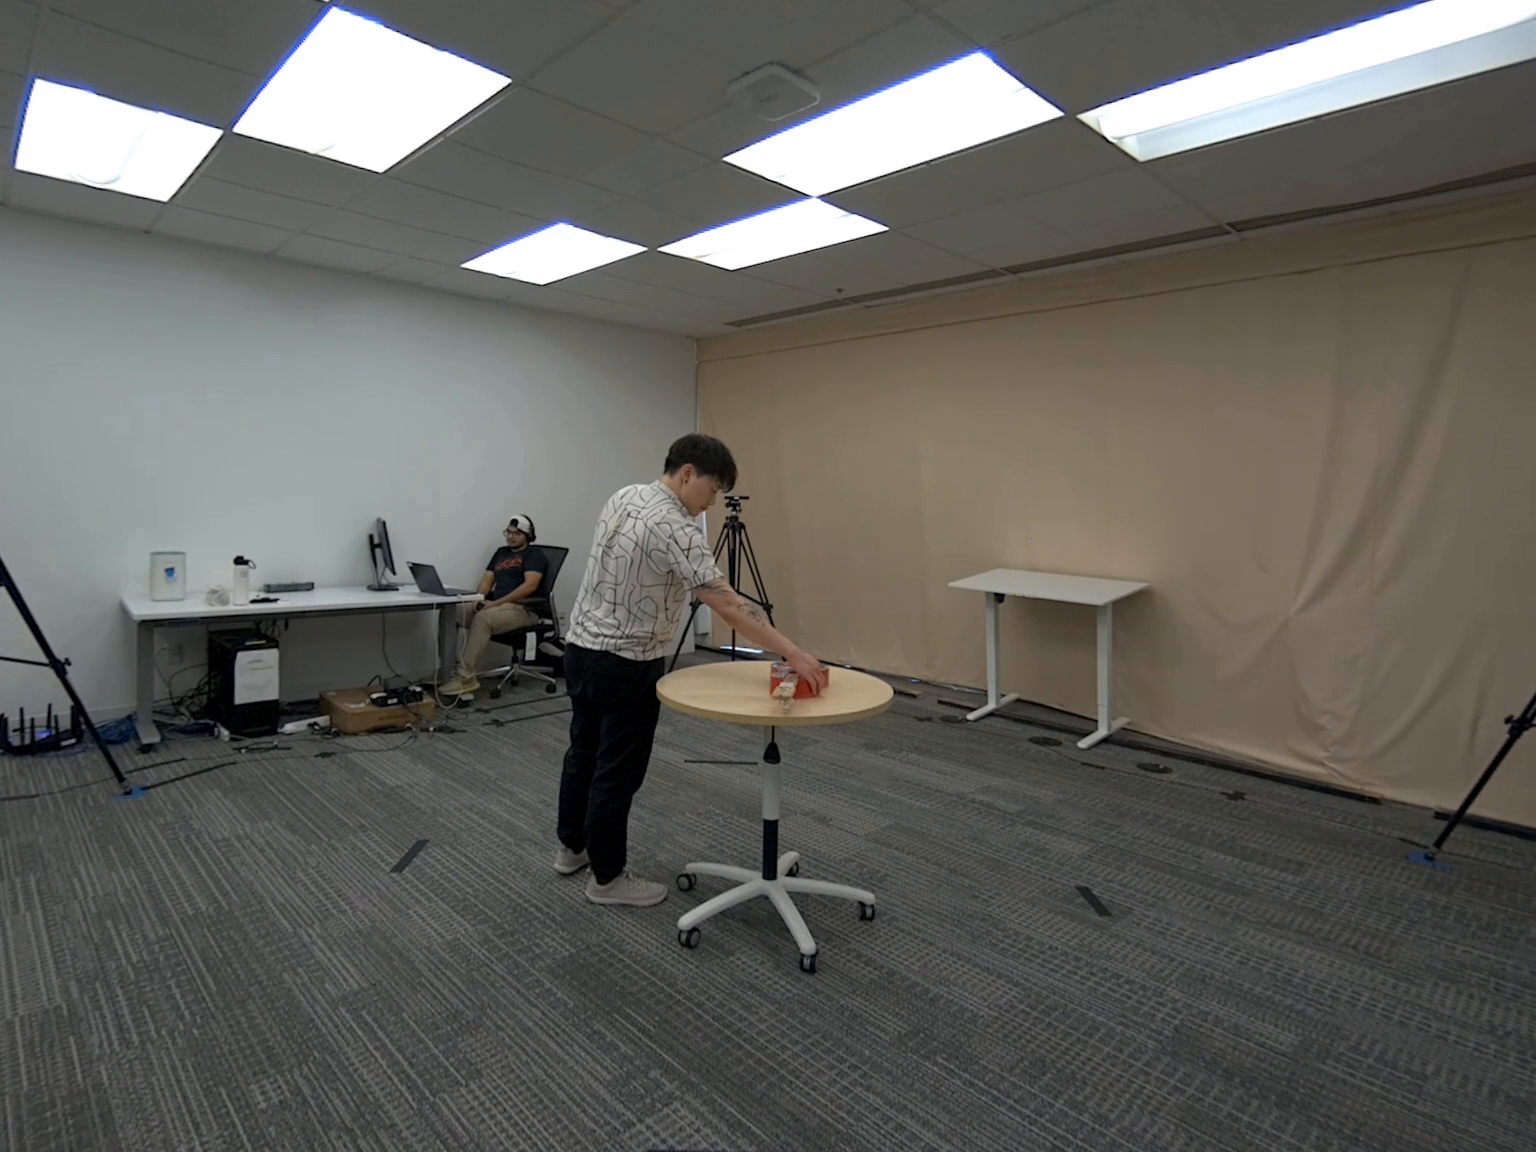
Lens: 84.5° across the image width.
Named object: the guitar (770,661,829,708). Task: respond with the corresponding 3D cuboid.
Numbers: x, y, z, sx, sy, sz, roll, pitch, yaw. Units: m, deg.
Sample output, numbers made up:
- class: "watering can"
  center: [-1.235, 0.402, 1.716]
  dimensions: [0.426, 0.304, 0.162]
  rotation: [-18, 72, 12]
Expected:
- class: "guitar"
  center: [0.037, 0.343, 2.589]
  dimensions: [0.196, 0.070, 0.491]
  rotation: [5, 6, 19]
